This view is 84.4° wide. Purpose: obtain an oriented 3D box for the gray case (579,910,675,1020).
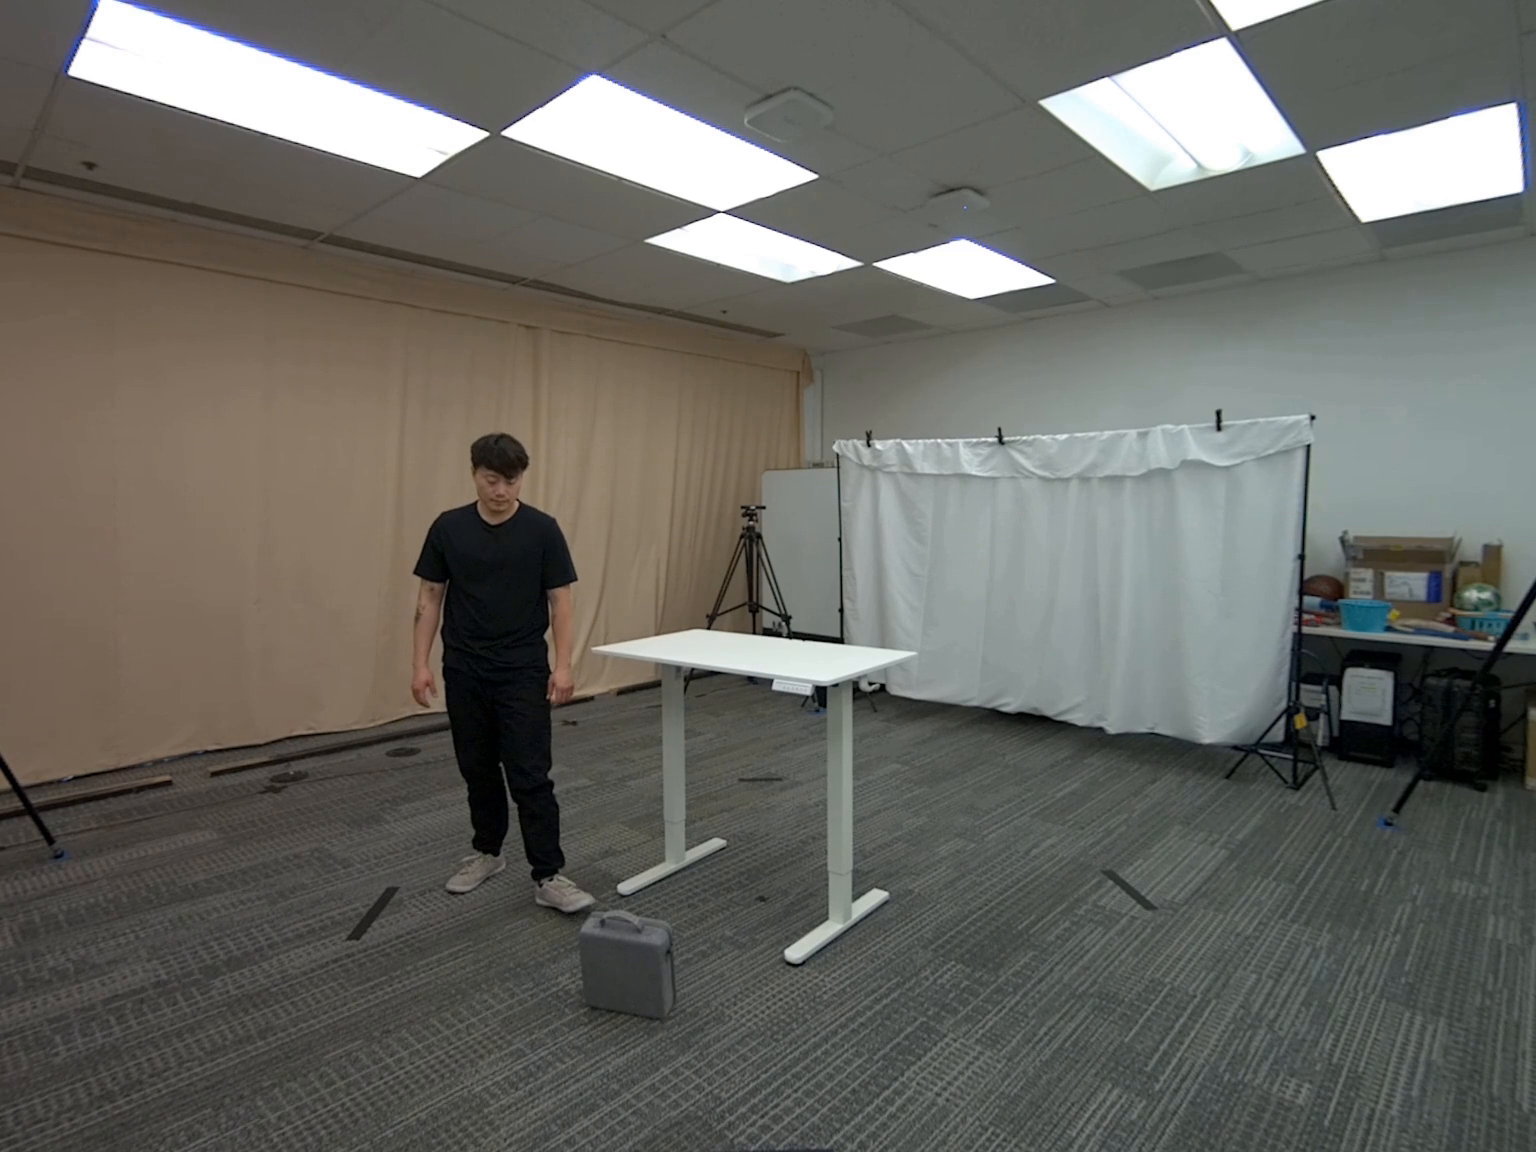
[{"bbox_3d":[-0.385,1.064,2.327,0.262,0.258,0.103,0,12,17],"label":"gray case"}]
